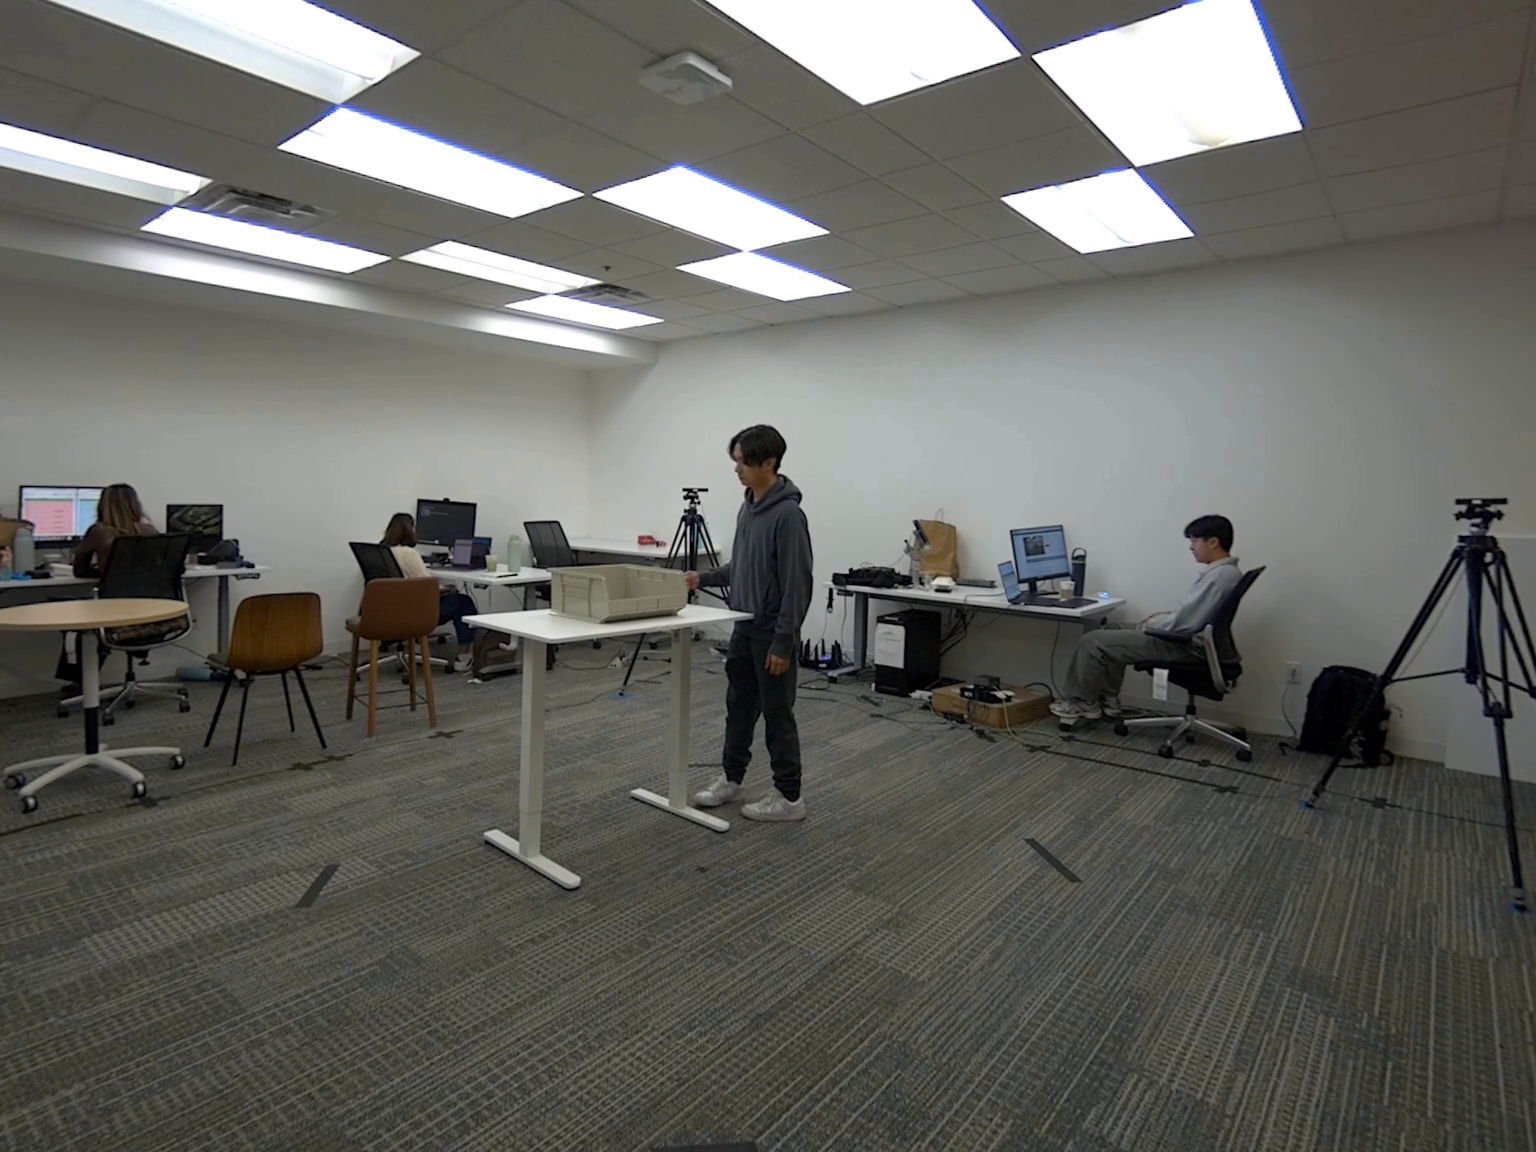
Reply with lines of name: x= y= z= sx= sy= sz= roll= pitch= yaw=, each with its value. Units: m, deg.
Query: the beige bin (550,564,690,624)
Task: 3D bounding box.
beige bin: x=-0.610 y=0.064 z=3.380 sx=0.390 sy=0.188 sz=0.410 roll=5 pitch=6 yaw=41
